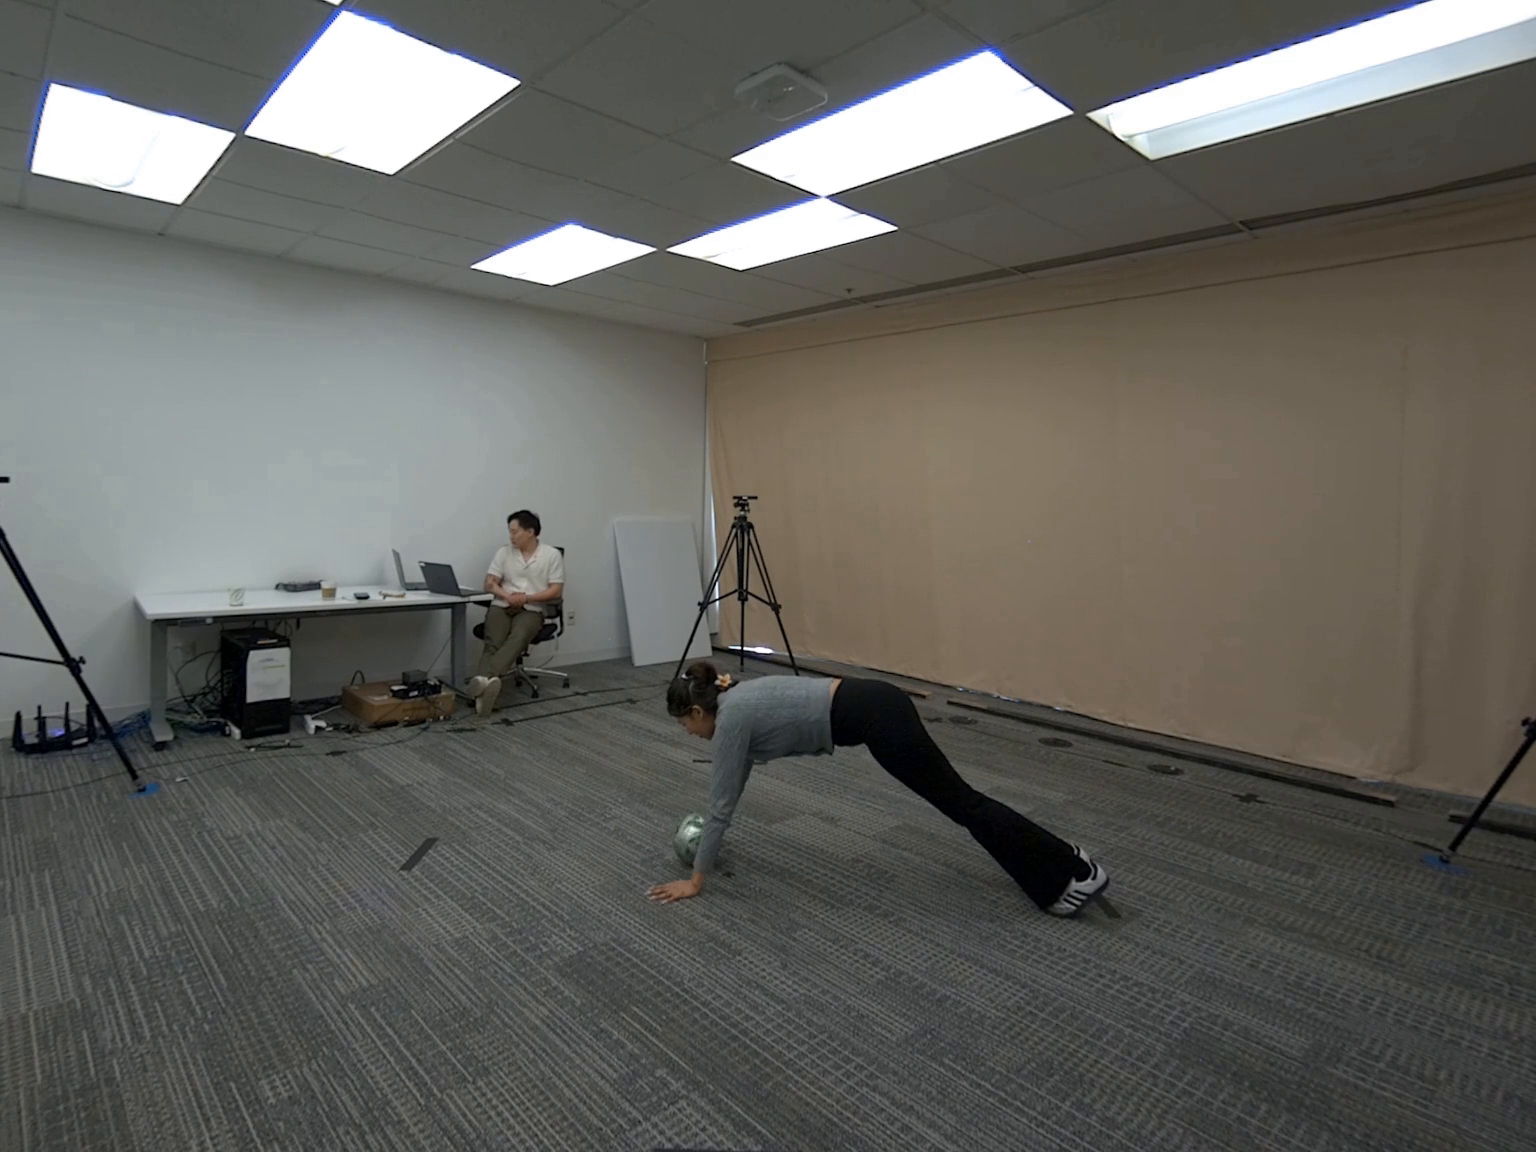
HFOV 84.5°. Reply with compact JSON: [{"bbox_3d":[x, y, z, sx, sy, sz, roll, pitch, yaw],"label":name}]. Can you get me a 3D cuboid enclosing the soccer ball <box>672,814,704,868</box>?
[{"bbox_3d":[-0.273,0.991,3.184,0.187,0.187,0.188,1,4,-1],"label":"soccer ball"}]
